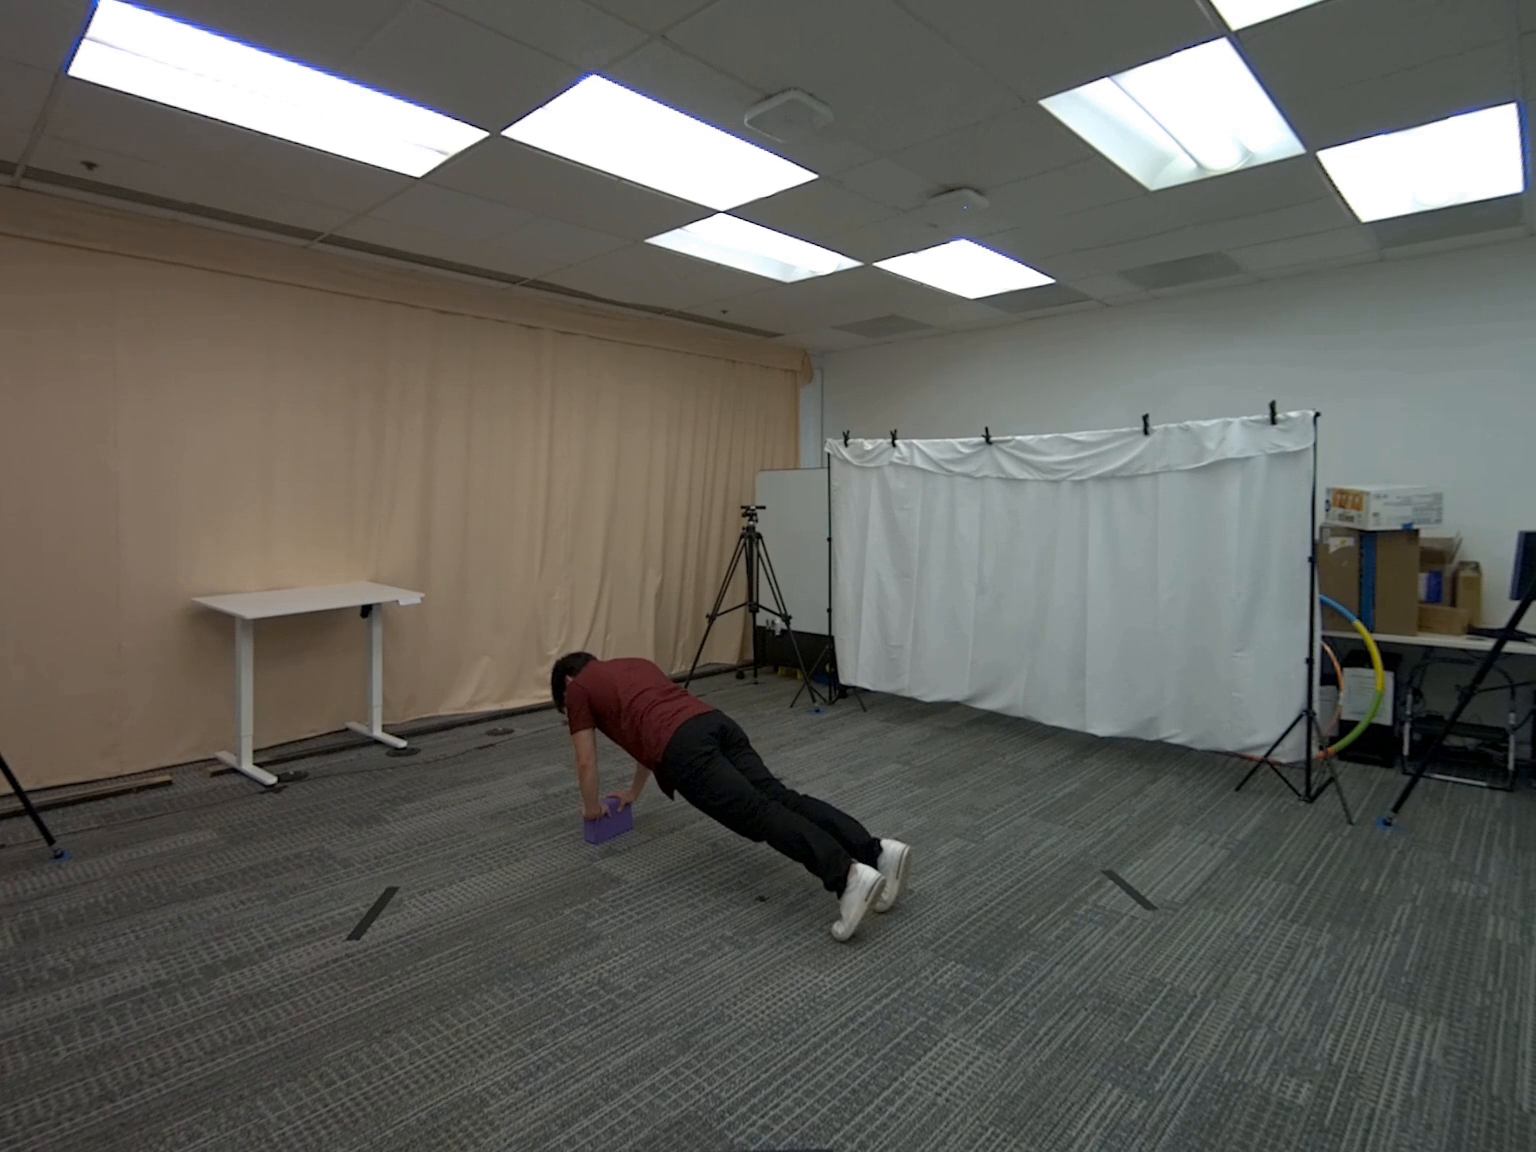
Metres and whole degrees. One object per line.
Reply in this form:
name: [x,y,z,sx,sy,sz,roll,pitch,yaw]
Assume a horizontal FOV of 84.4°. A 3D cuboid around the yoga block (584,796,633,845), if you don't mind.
yoga block: [-0.681,1.031,3.578,0.079,0.149,0.223,0,4,35]
